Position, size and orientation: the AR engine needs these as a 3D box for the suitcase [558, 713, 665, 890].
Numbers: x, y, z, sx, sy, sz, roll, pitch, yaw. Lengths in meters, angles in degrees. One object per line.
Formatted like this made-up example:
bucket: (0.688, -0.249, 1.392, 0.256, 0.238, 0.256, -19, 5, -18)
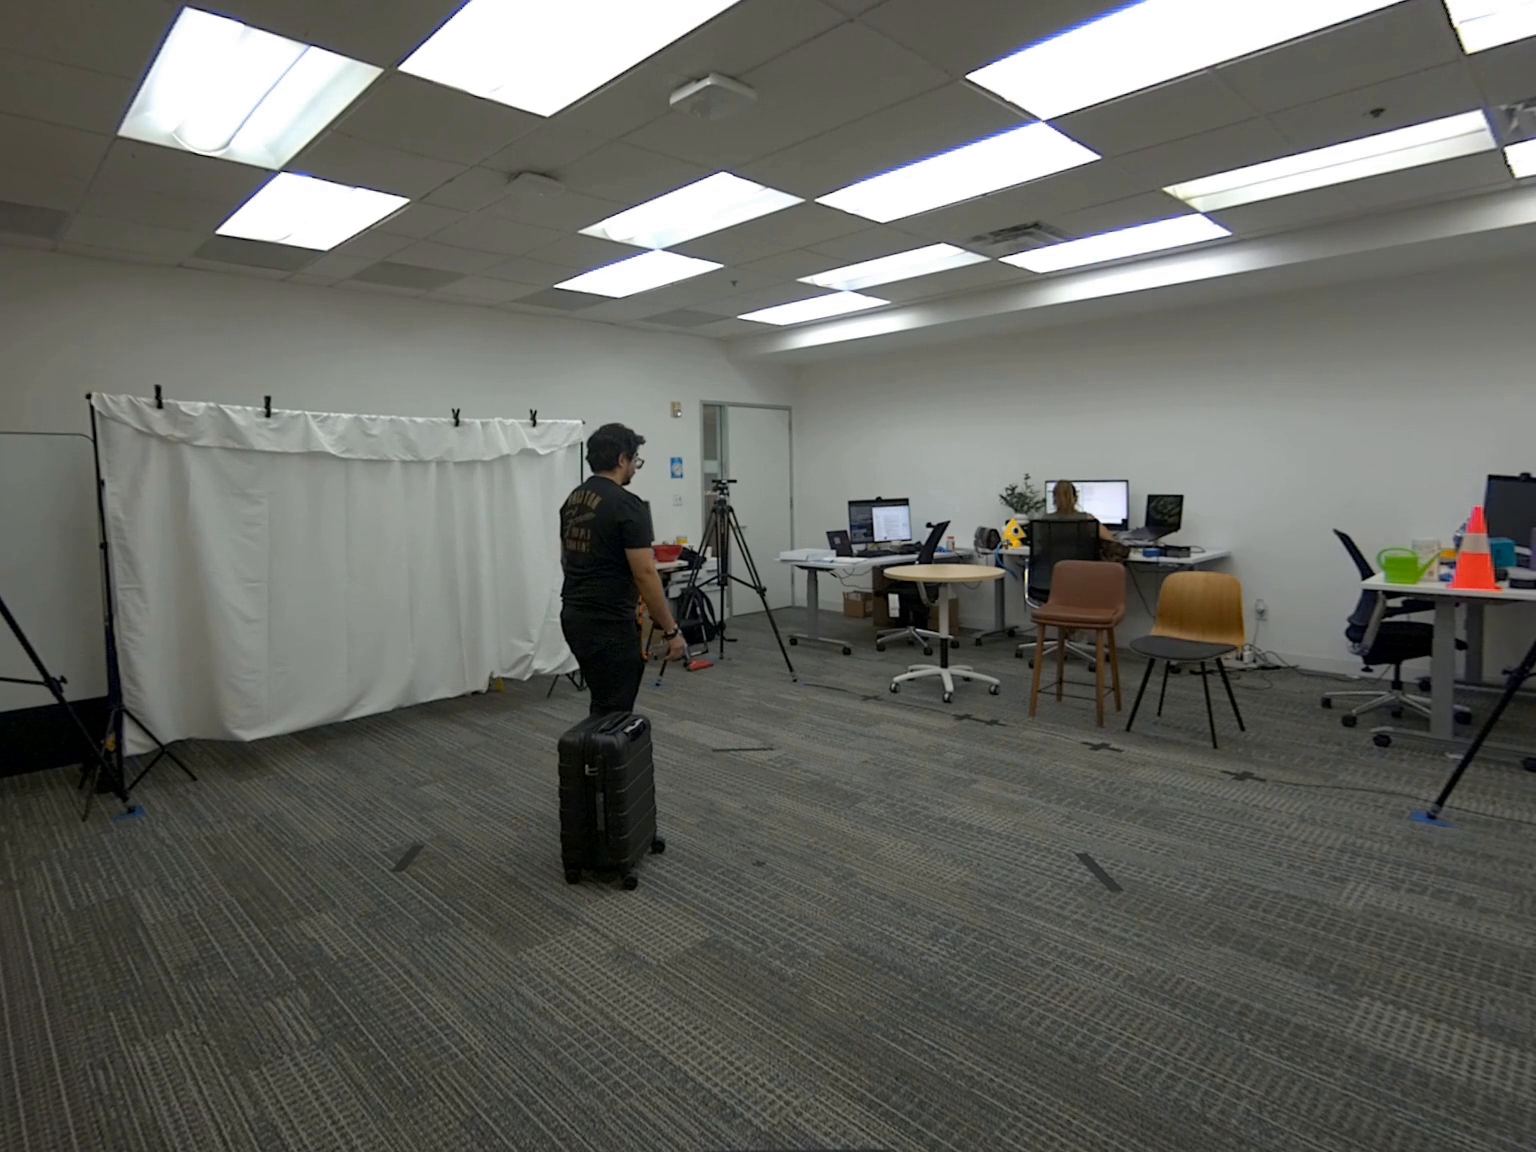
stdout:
suitcase: (-0.567, 0.784, 3.087, 0.252, 0.547, 0.372, -2, 4, 13)
